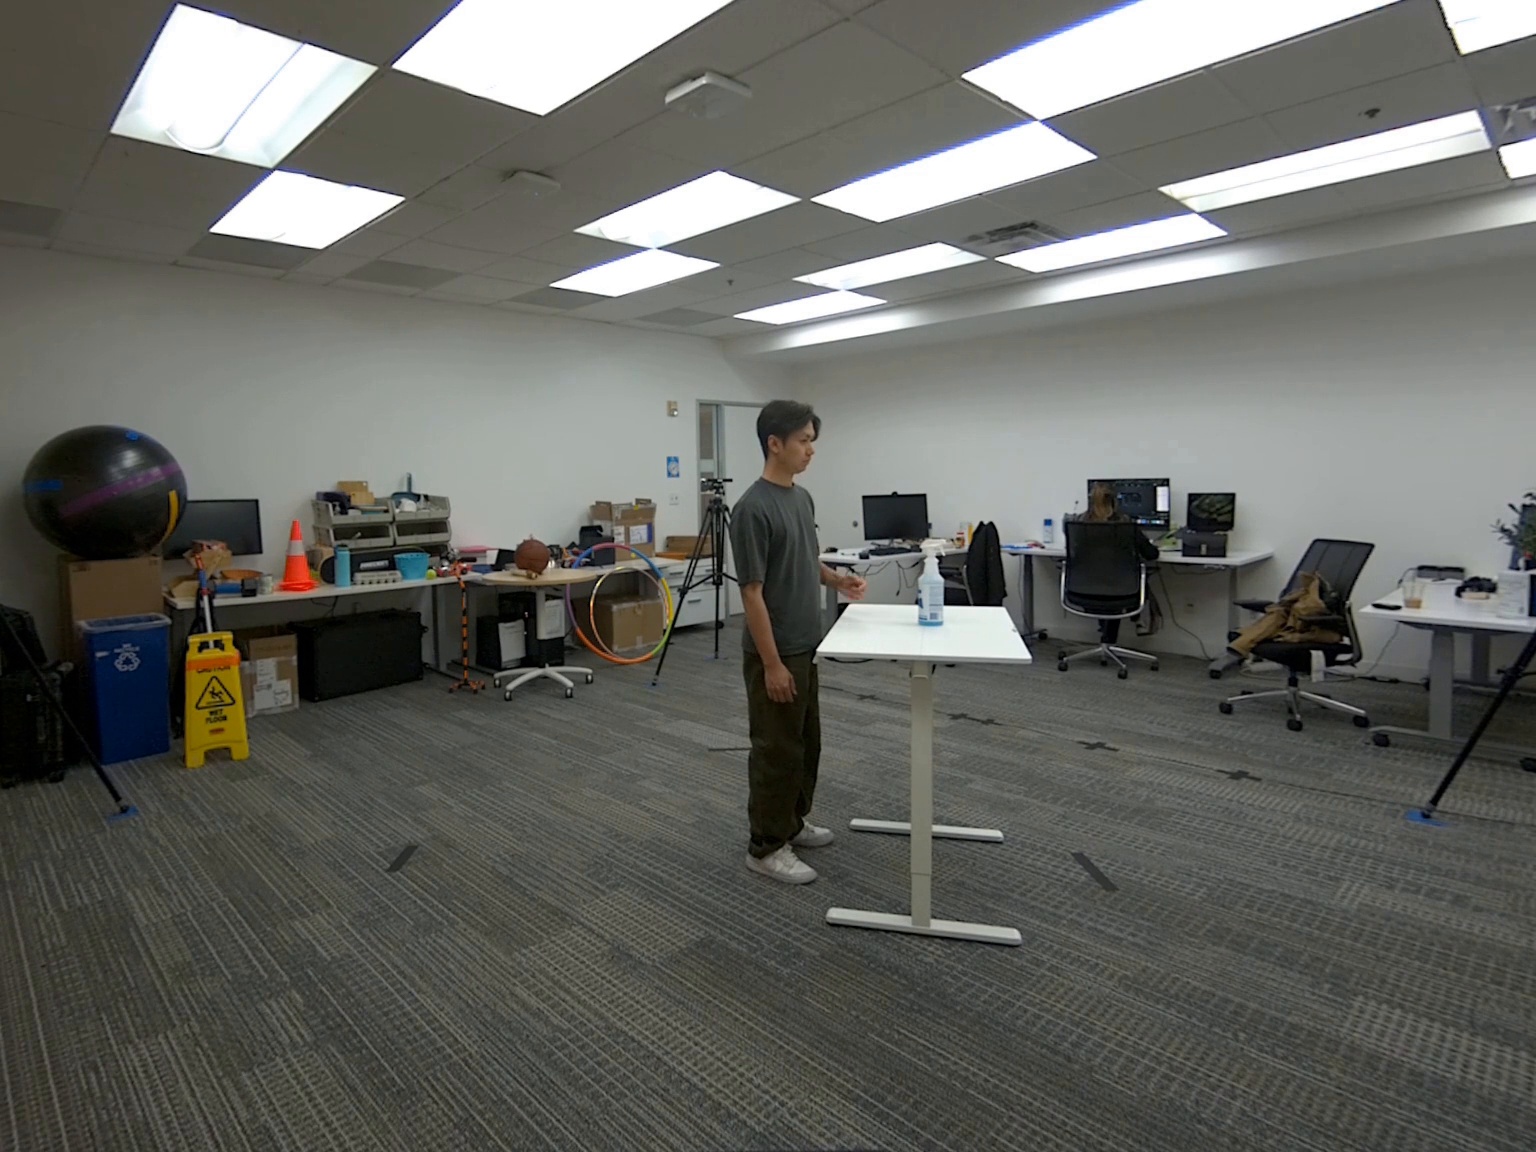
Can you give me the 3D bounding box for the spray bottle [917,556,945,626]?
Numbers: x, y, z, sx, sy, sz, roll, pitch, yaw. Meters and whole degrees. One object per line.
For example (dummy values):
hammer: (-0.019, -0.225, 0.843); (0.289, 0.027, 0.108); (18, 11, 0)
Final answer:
spray bottle: (0.565, 0.022, 2.960); (0.085, 0.297, 0.092); (-1, 2, -31)
